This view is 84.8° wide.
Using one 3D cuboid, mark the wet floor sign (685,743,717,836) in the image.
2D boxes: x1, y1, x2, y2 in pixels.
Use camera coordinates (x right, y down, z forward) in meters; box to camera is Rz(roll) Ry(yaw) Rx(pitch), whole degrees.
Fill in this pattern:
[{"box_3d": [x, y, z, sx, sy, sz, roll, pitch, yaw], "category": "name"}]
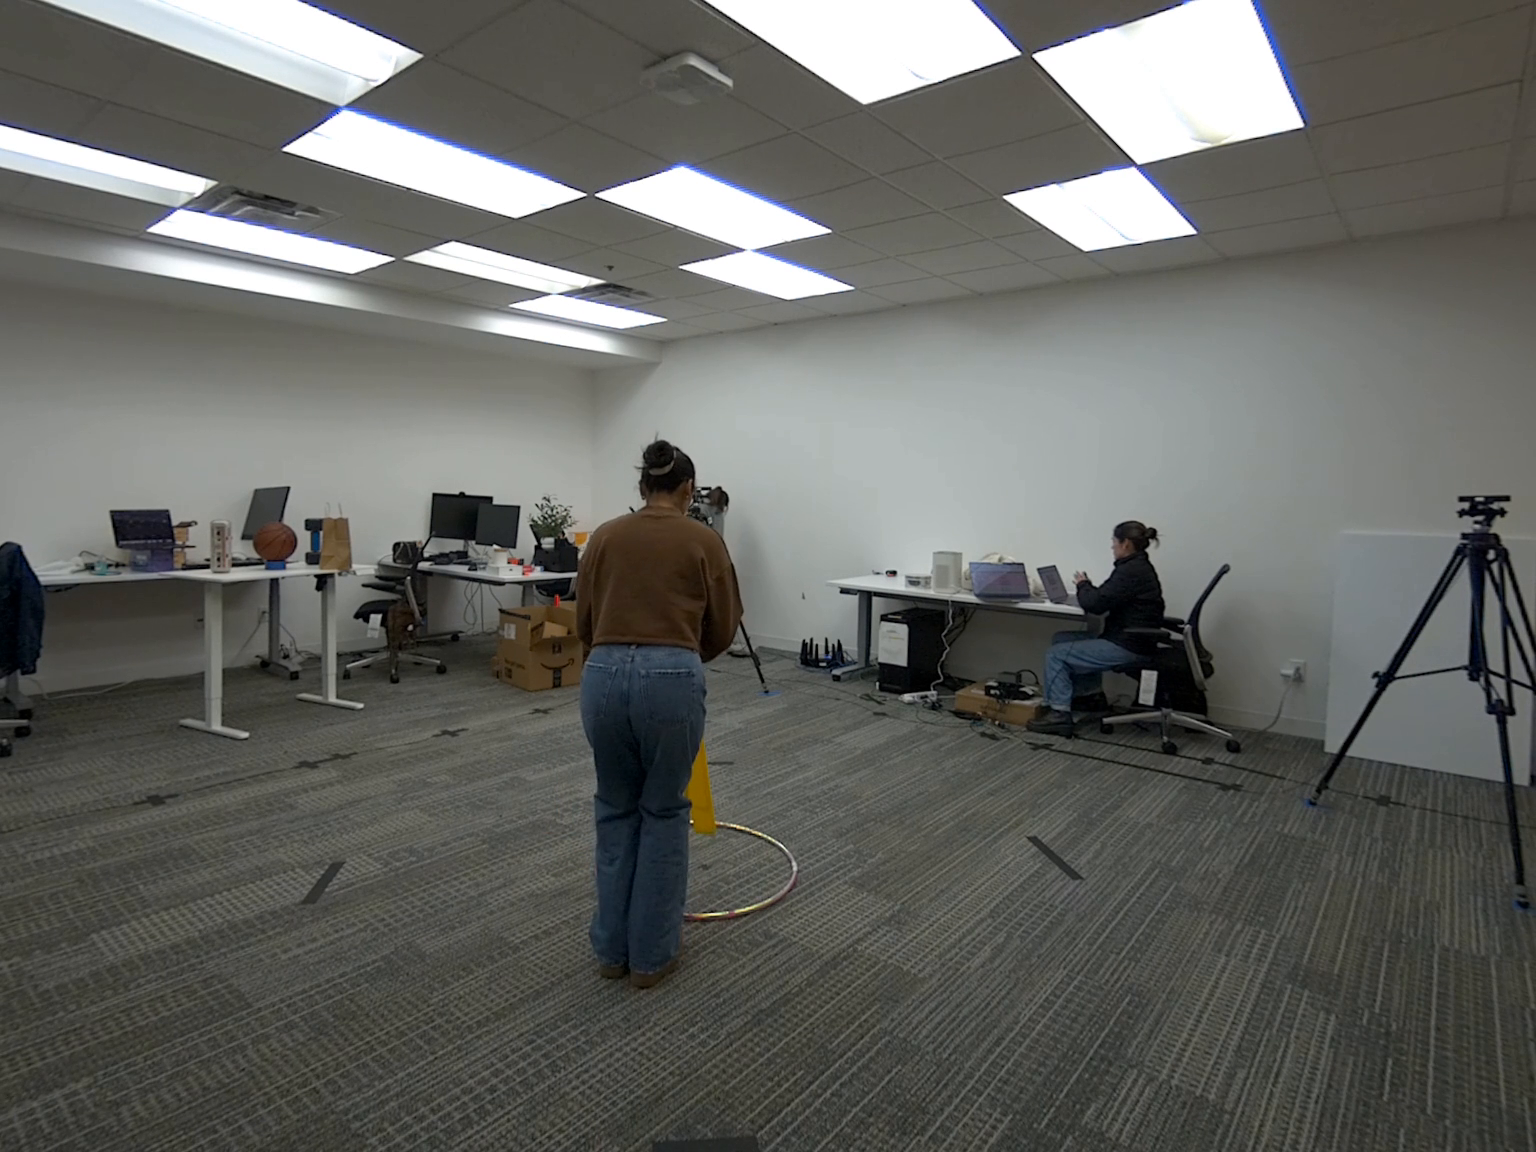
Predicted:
[{"box_3d": [-0.356, 0.538, 2.808, 0.287, 0.648, 0.284, -1, -4, 16], "category": "wet floor sign"}]
